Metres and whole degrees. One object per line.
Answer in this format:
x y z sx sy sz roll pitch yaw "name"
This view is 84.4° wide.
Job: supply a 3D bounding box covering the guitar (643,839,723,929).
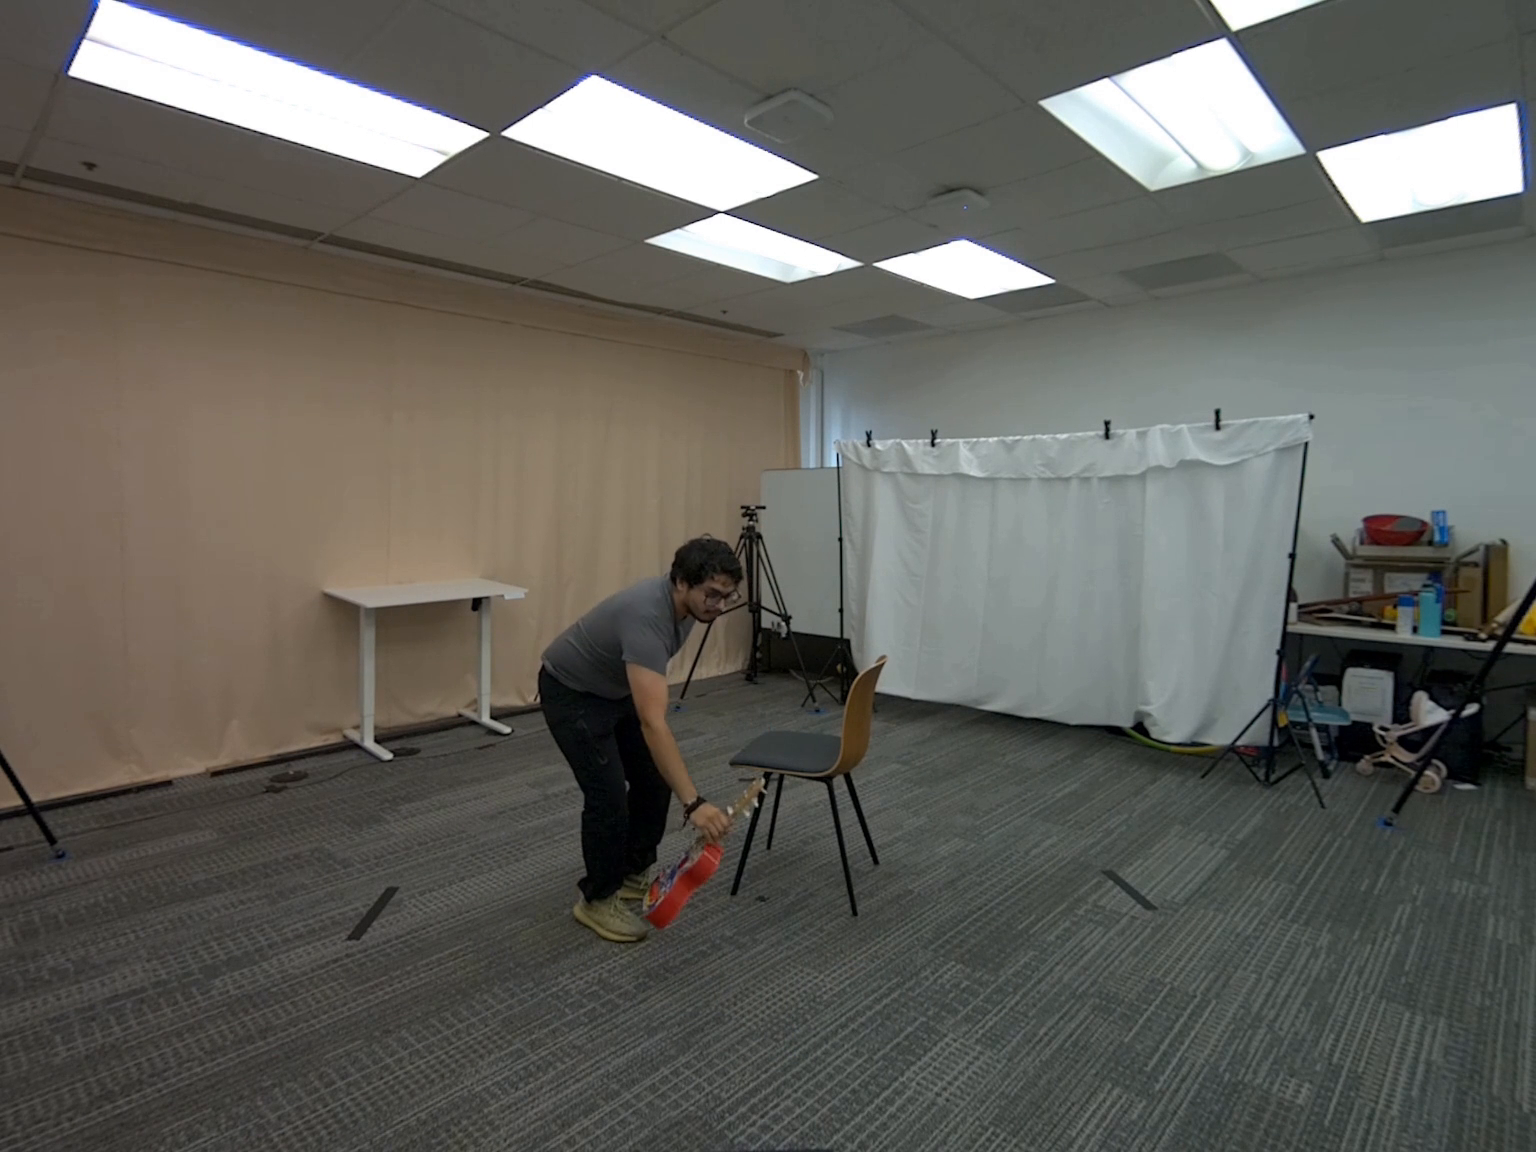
-0.163 0.773 2.340 0.070 0.499 0.194 44 9 -9 "guitar"
